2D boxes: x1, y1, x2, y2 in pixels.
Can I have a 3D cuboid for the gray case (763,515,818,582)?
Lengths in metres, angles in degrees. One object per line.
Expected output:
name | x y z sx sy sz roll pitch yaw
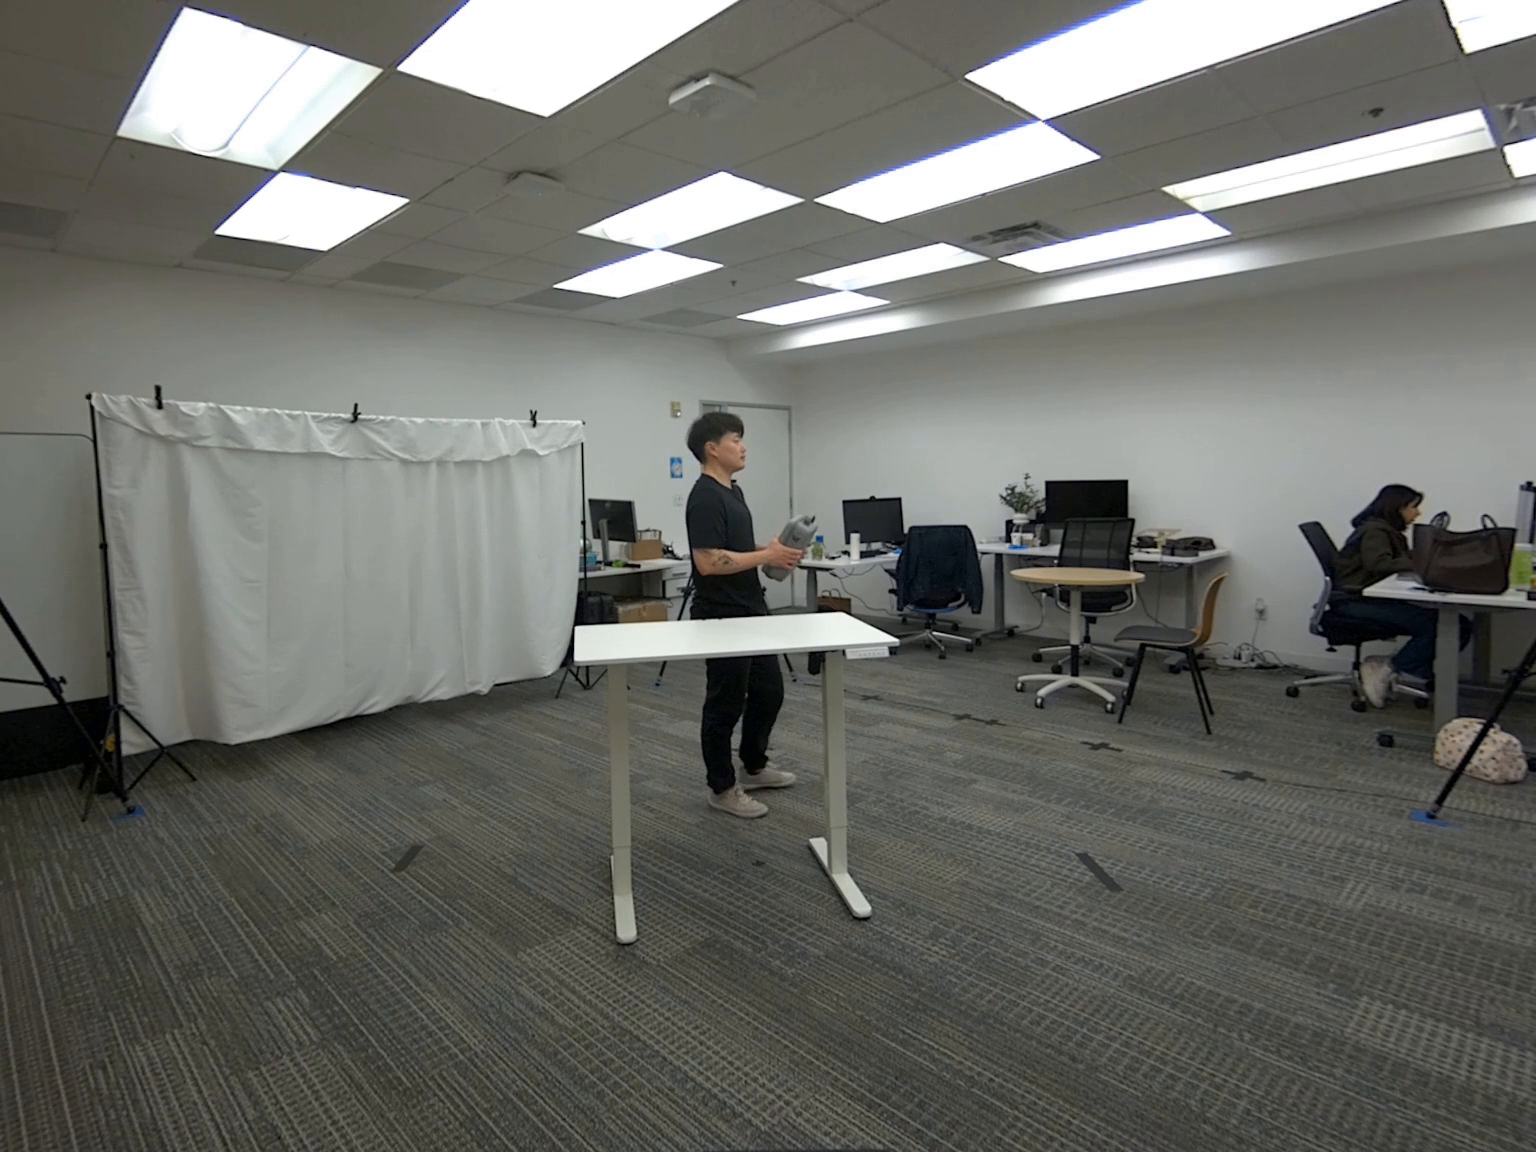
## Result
gray case | 0.090 -0.121 3.498 0.105 0.259 0.255 30 16 6
